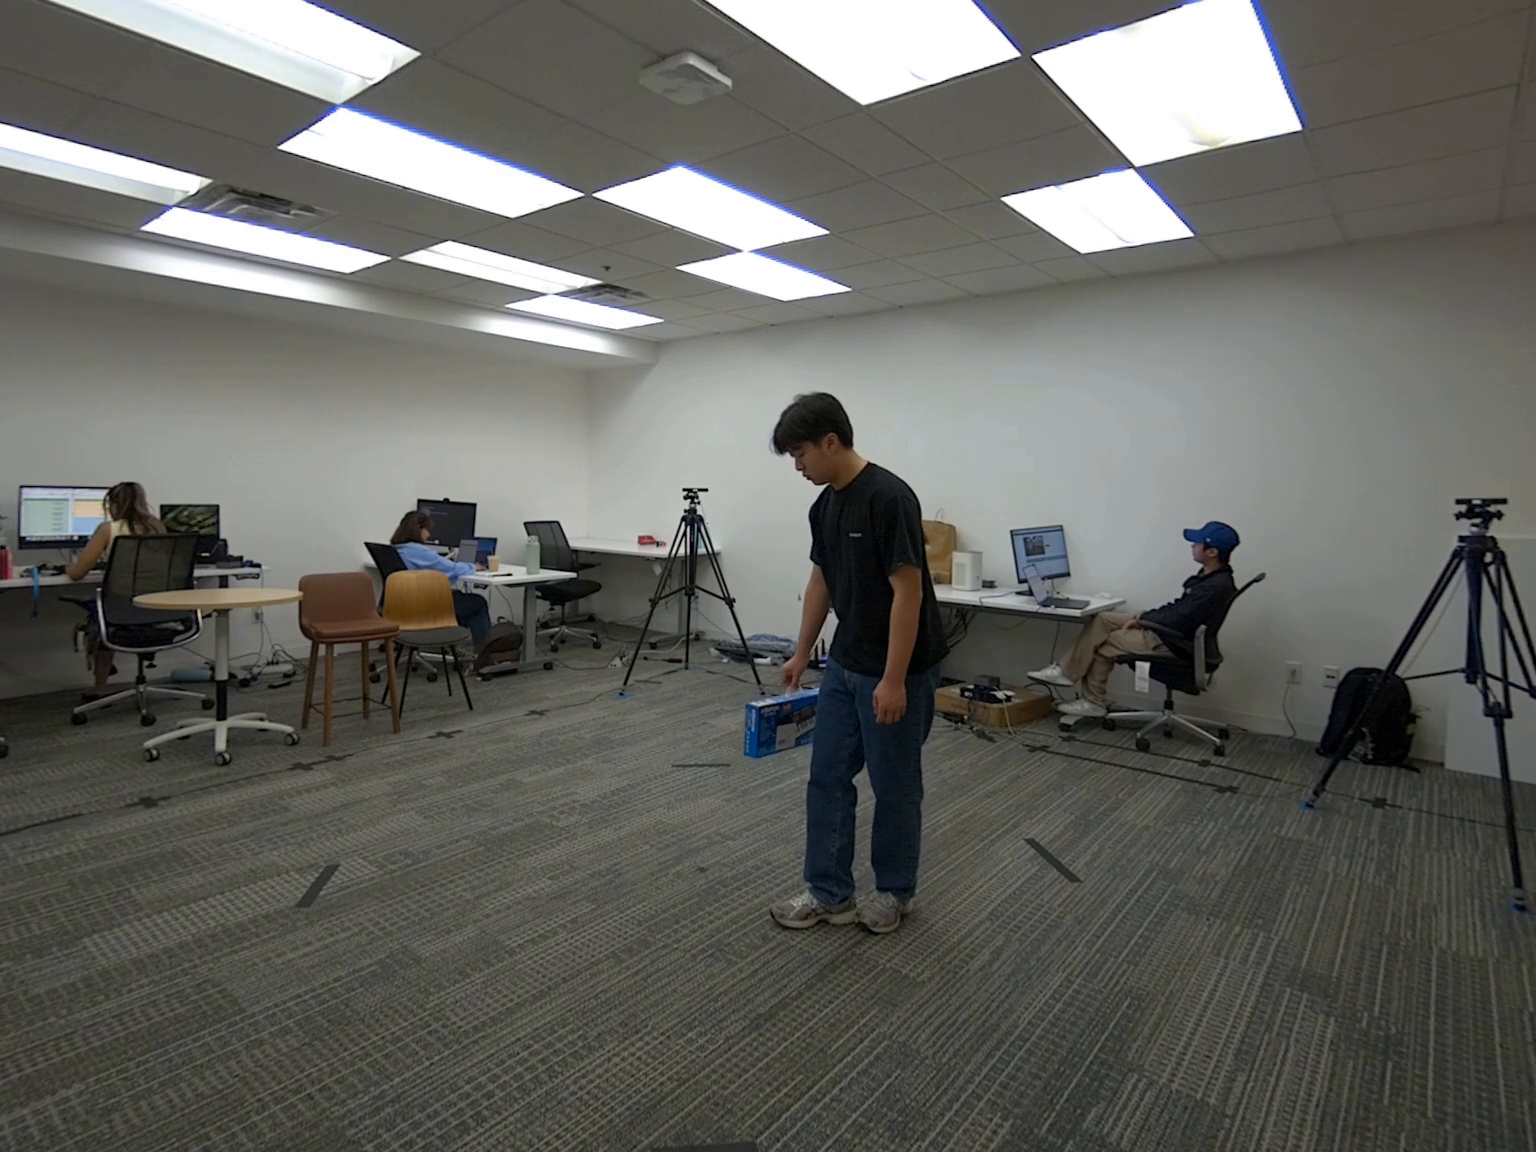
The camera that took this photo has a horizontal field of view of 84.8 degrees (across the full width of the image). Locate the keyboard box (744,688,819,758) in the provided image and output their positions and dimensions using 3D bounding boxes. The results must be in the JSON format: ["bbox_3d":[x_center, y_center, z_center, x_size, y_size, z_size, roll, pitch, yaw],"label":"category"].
[{"bbox_3d":[0.079,0.497,2.920,0.061,0.175,0.423,4,5,43],"label":"keyboard box"}]
